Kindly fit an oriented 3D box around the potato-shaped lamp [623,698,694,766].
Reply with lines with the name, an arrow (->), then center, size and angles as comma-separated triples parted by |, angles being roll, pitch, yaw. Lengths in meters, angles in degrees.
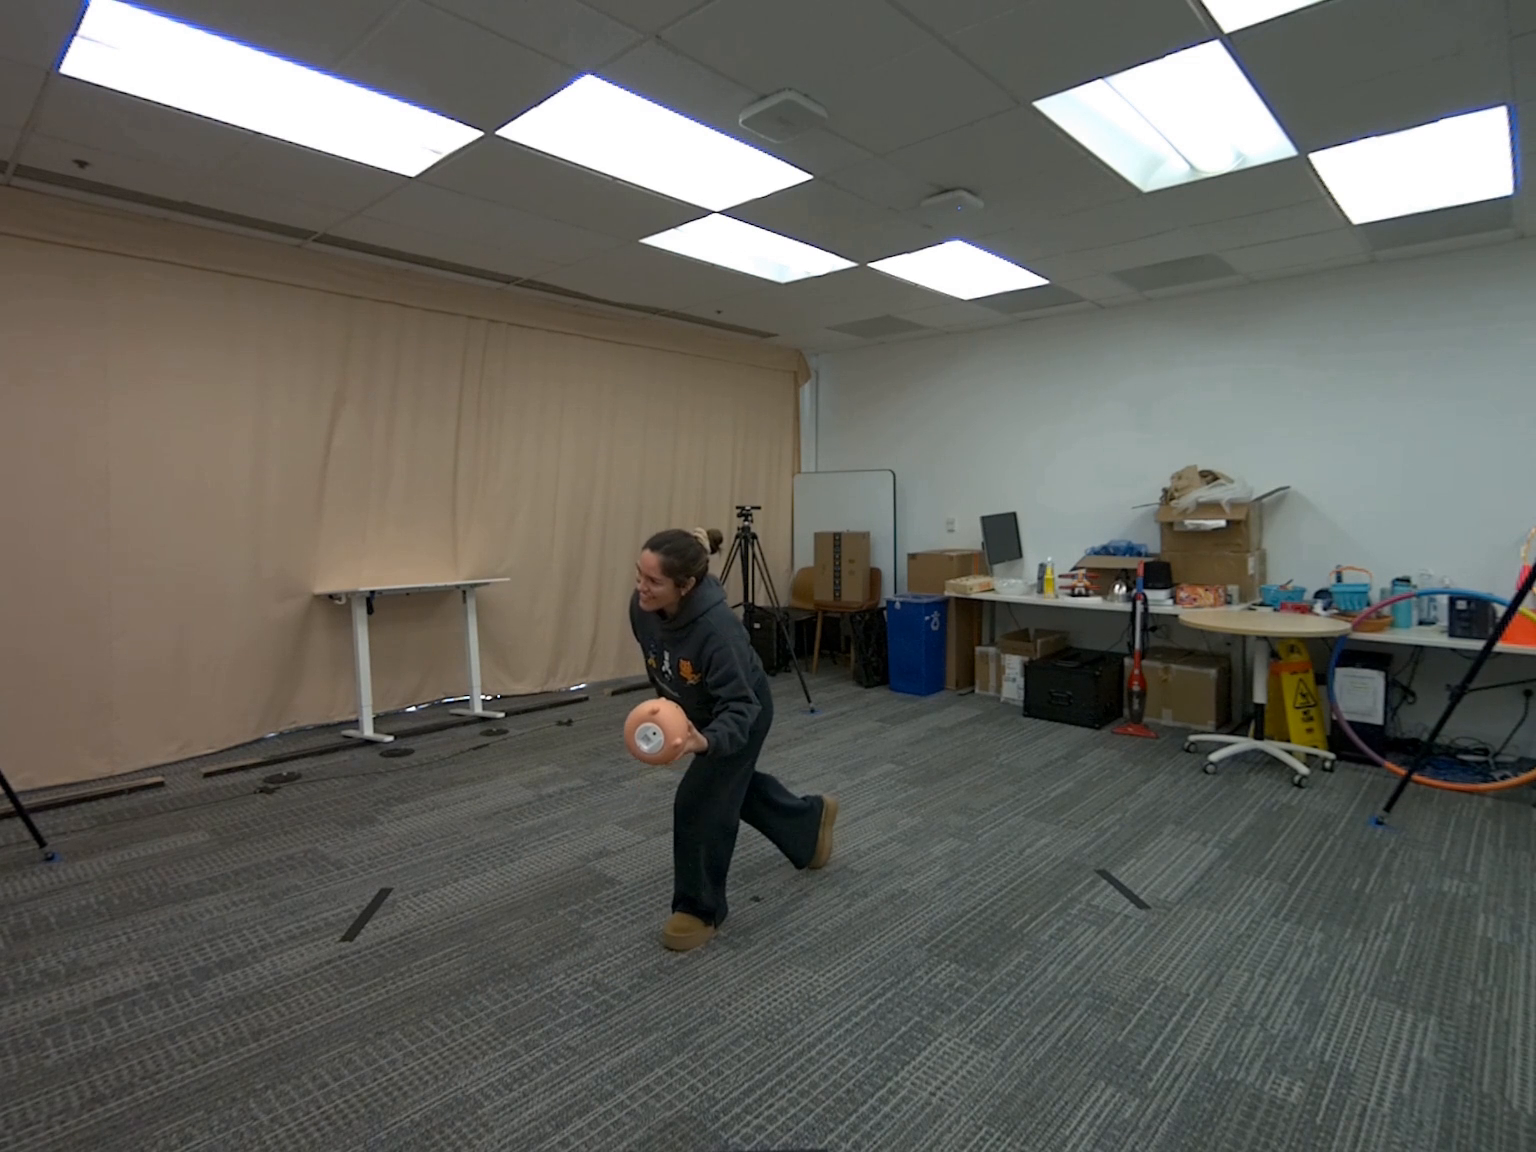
potato-shaped lamp -> -0.268, 0.400, 2.225 | 0.173, 0.166, 0.195 | -39, -4, 18
